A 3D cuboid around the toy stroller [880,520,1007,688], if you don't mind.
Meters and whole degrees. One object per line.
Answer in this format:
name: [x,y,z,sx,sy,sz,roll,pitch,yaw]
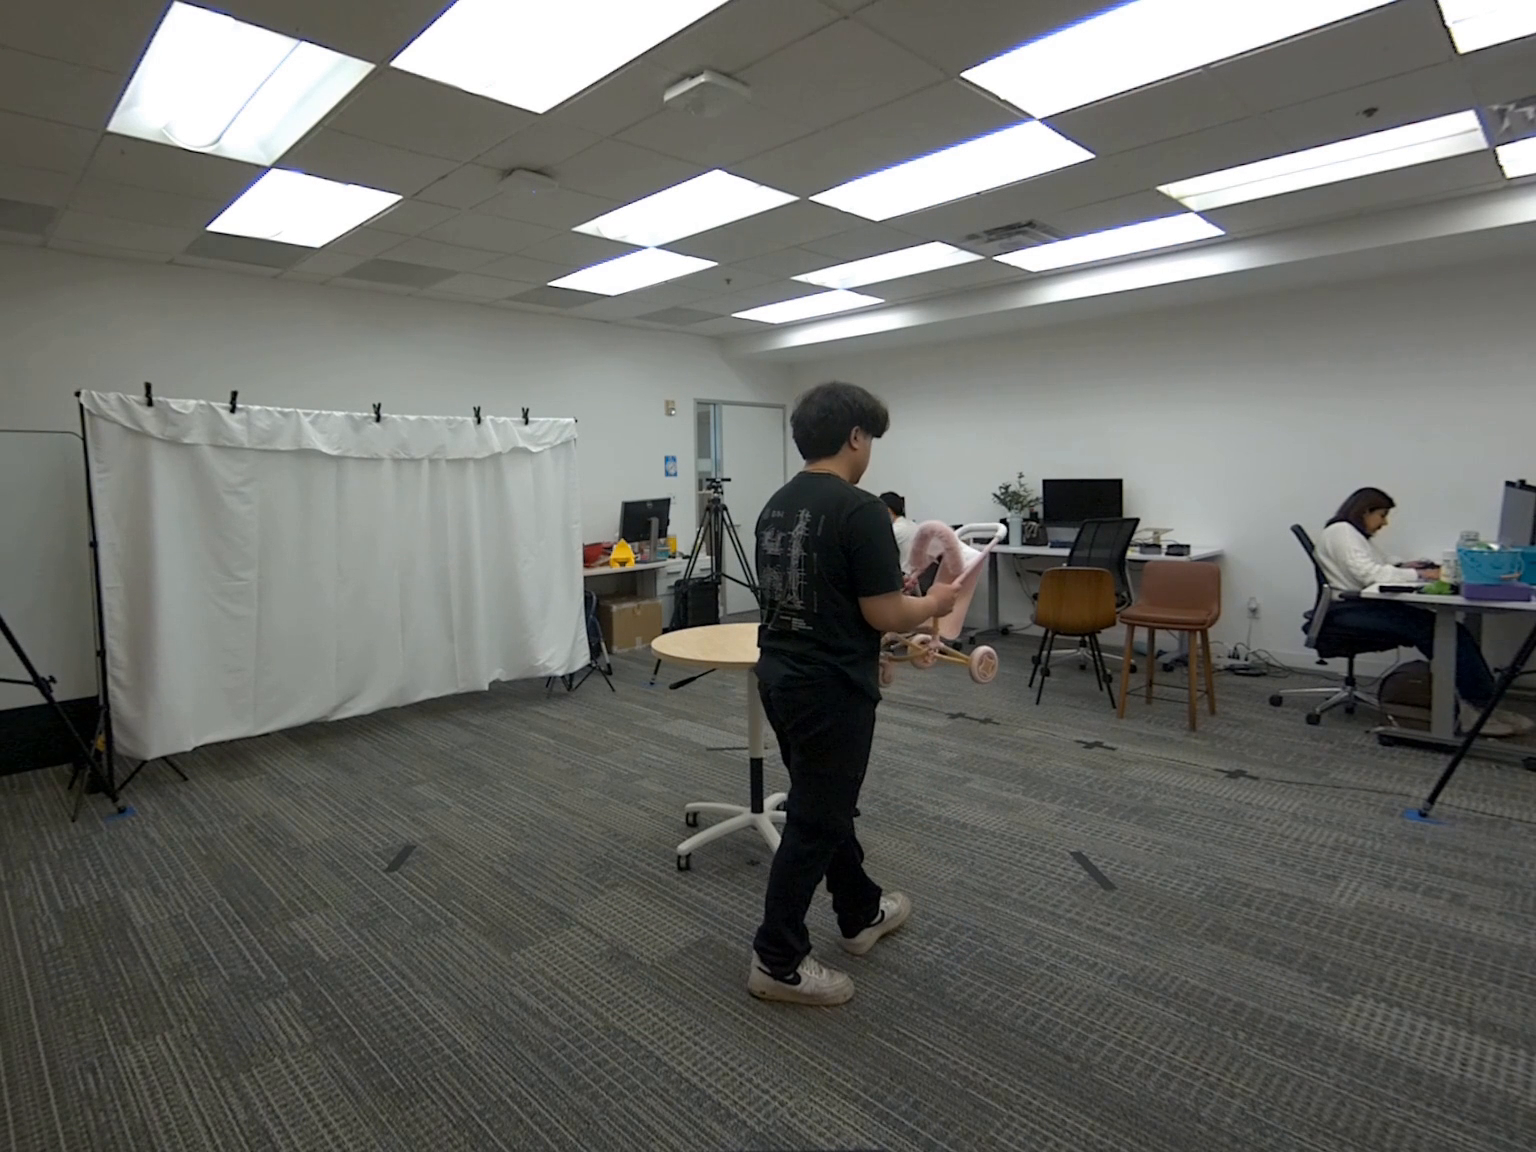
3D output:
toy stroller: [0.490,0.076,2.519,0.333,0.536,0.288,11,-3,-26]
